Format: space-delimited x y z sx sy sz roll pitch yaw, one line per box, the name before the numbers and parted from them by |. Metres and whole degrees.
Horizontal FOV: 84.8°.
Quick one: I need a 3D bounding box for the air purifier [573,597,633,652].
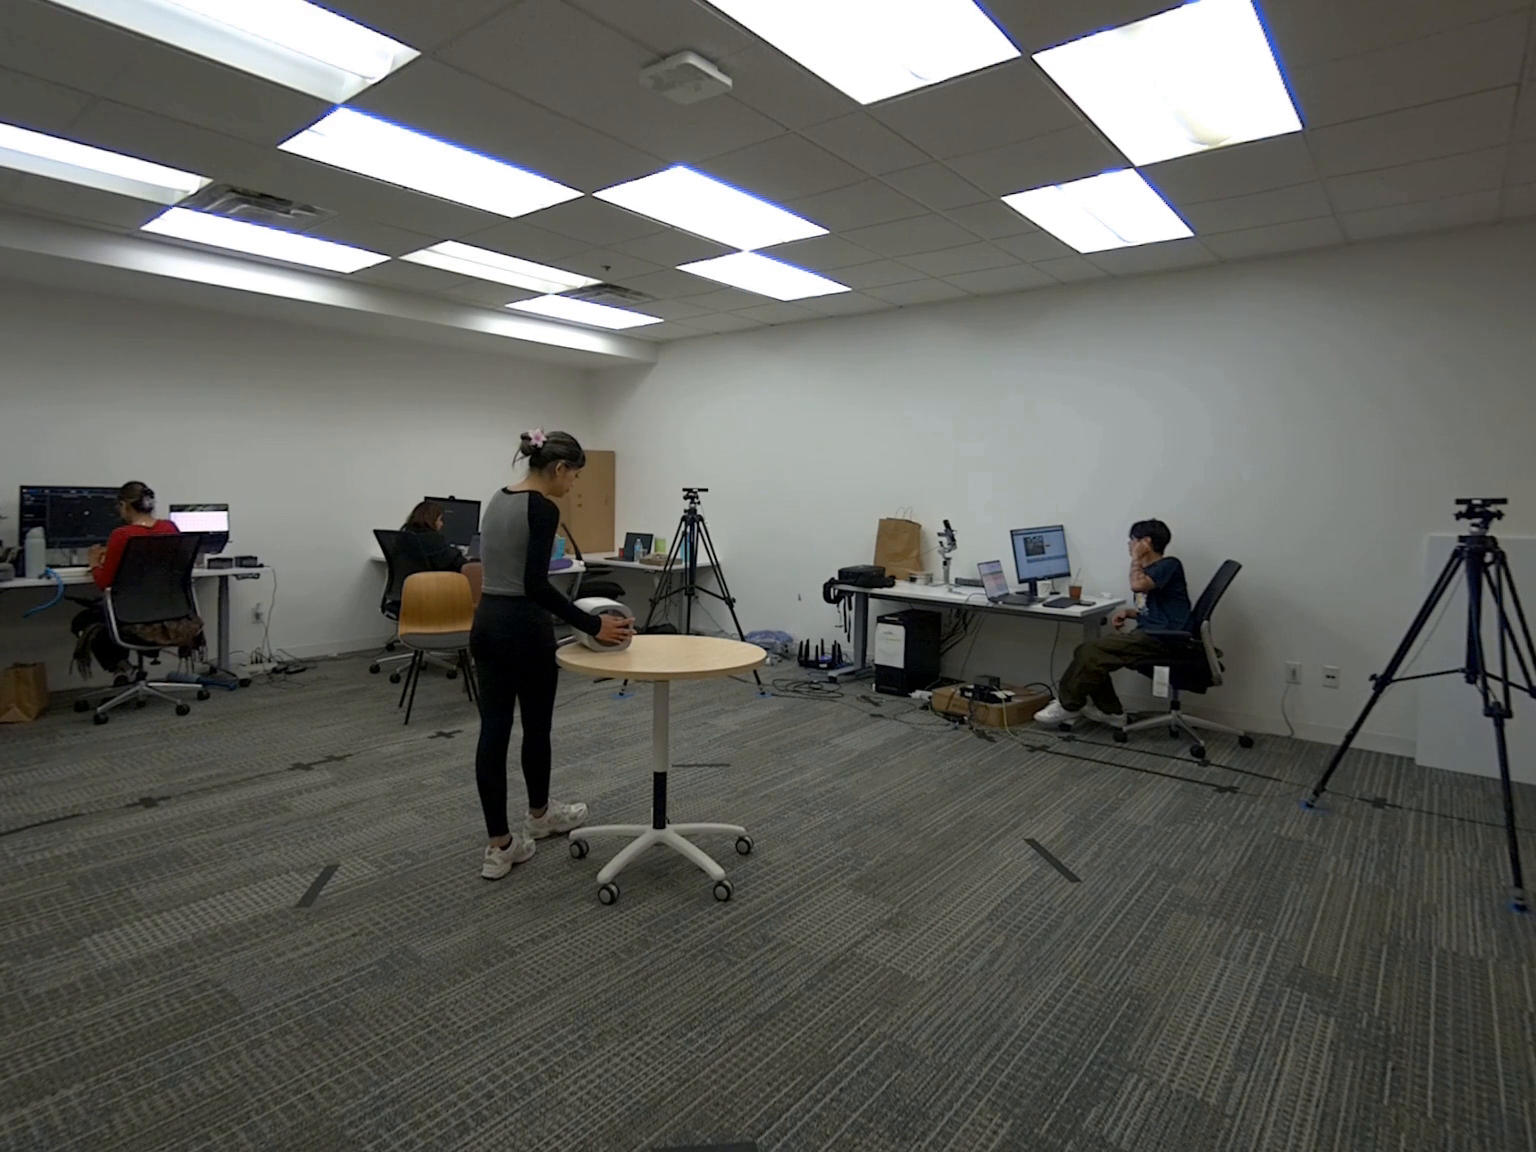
air purifier | -0.638 0.178 3.199 0.167 0.171 0.272 -1 5 -25
